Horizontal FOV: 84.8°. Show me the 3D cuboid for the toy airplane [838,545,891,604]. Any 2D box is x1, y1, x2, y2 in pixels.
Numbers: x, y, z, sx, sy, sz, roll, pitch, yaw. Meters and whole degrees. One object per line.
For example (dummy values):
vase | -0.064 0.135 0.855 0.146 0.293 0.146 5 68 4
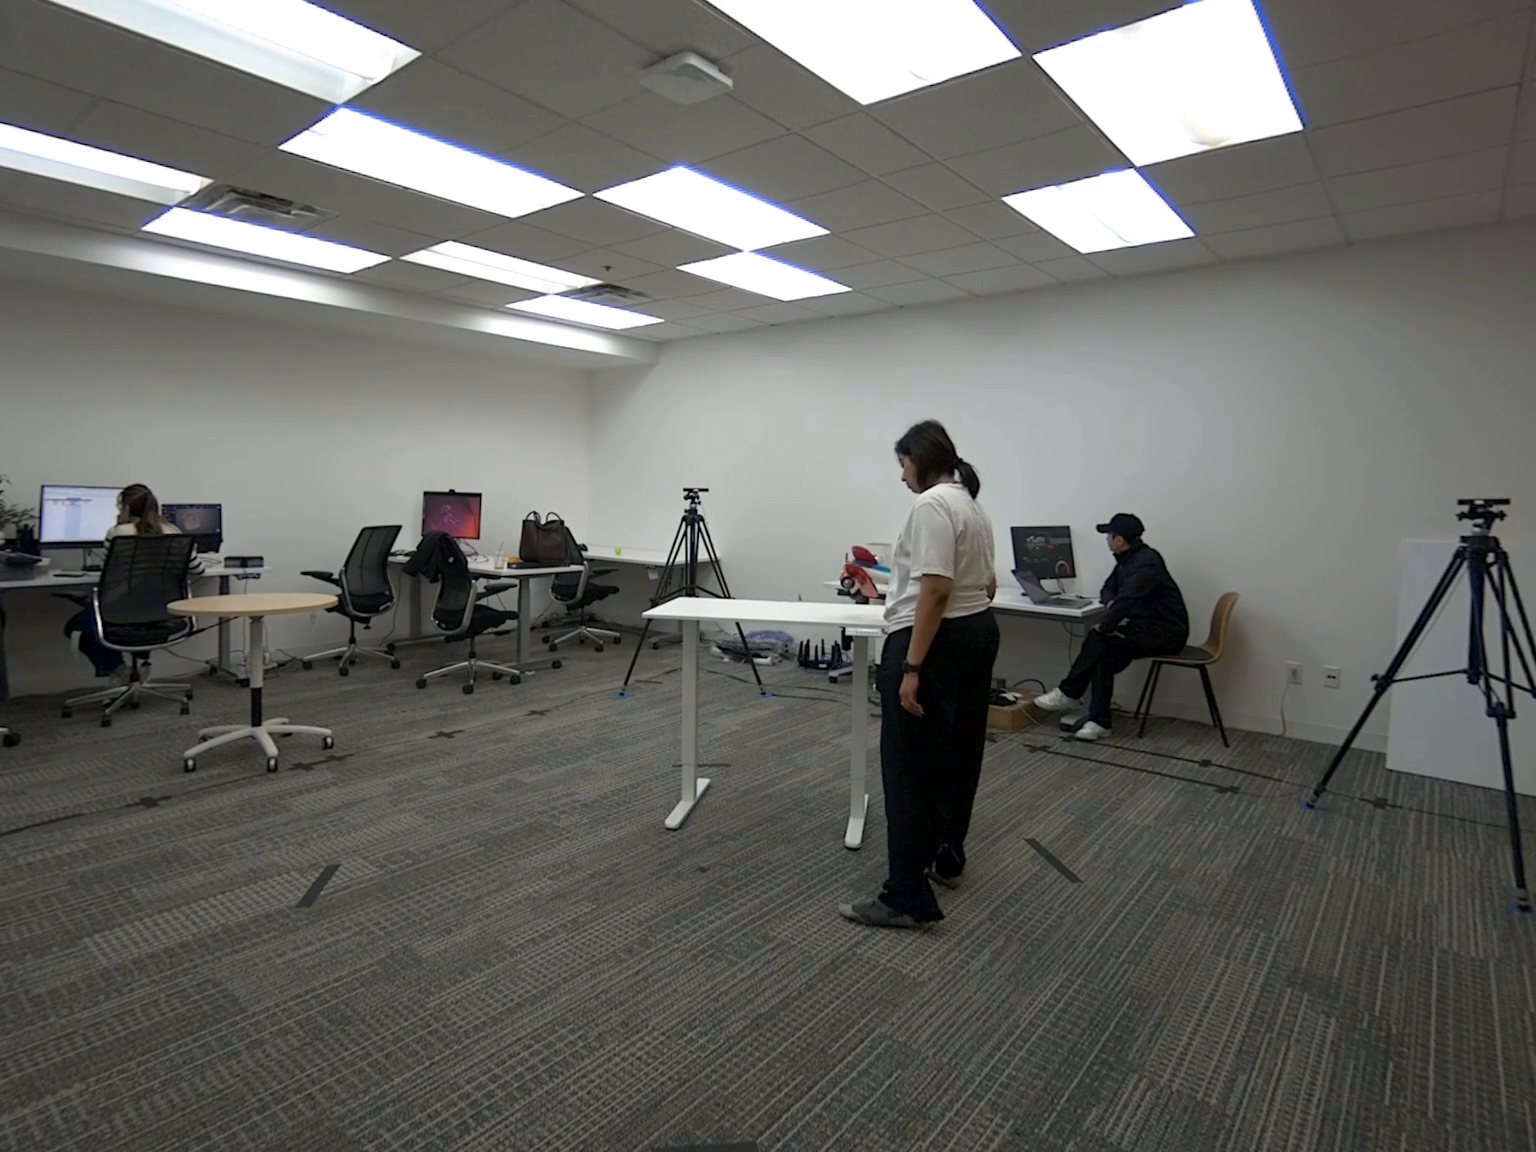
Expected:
toy airplane | 0.404 0.011 3.328 0.261 0.159 0.245 11 -28 3
